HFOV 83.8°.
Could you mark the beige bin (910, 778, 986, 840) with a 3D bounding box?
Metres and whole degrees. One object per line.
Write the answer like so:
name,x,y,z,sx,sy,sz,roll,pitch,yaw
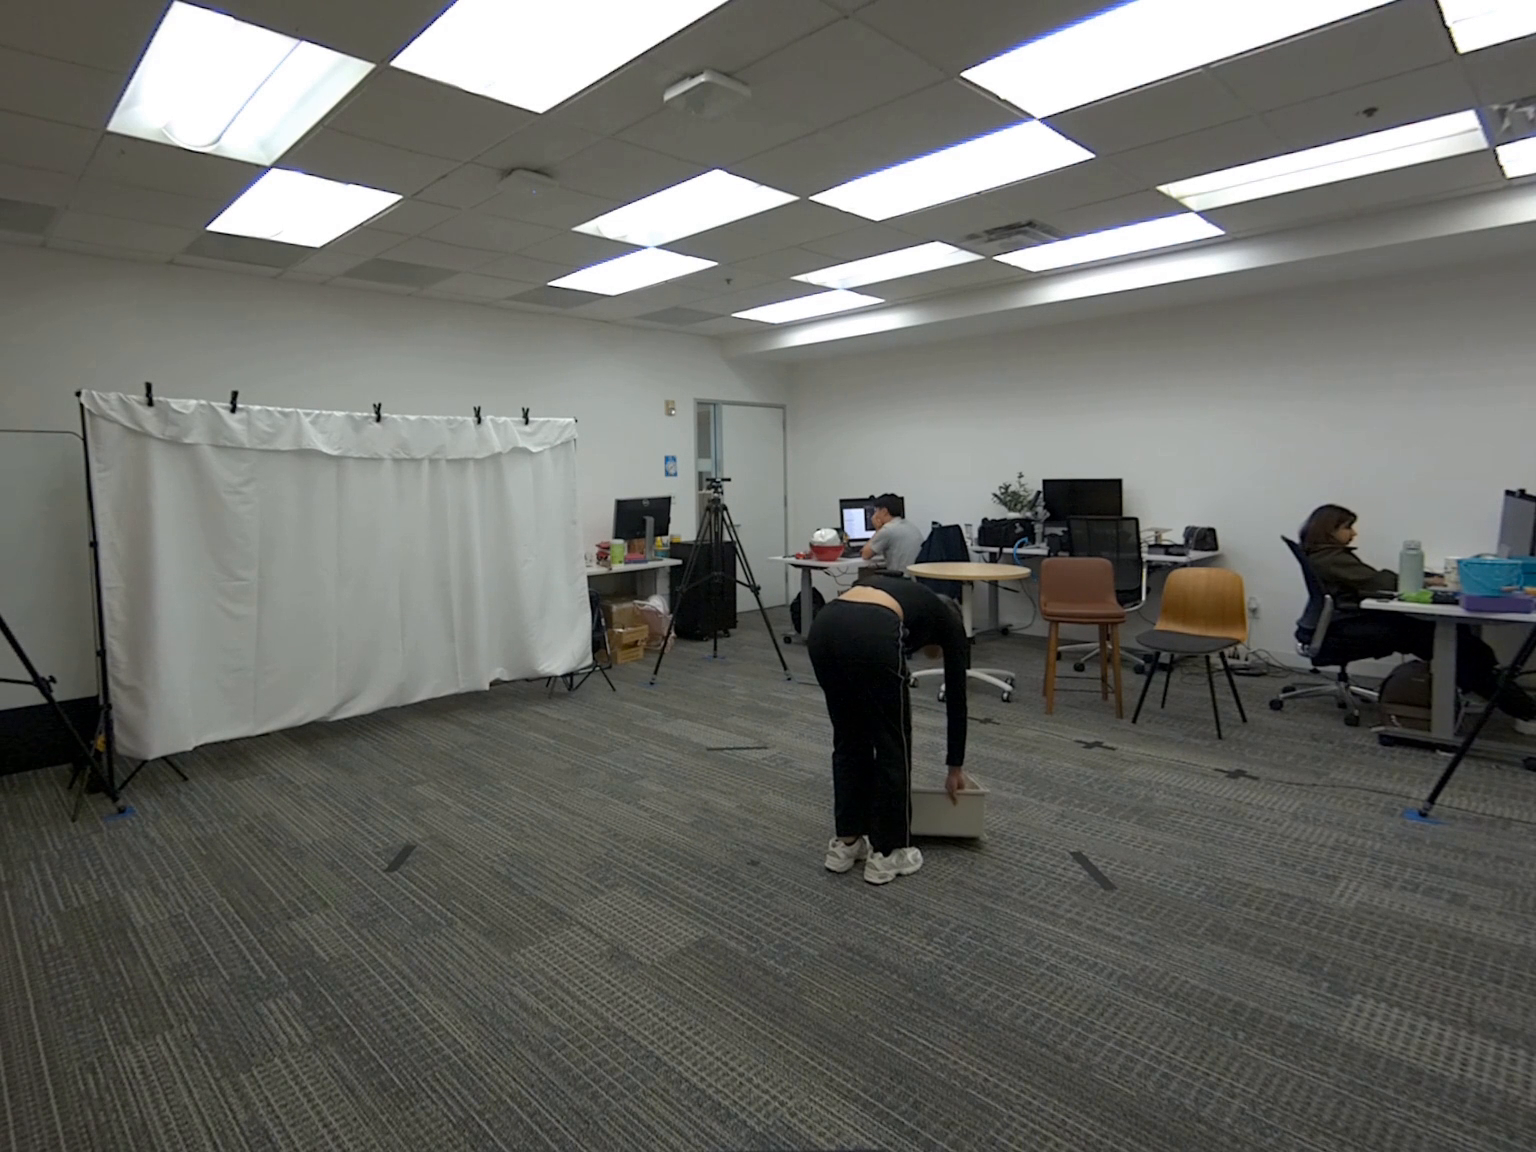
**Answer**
beige bin,0.623,0.900,3.357,0.424,0.190,0.374,1,-3,3
